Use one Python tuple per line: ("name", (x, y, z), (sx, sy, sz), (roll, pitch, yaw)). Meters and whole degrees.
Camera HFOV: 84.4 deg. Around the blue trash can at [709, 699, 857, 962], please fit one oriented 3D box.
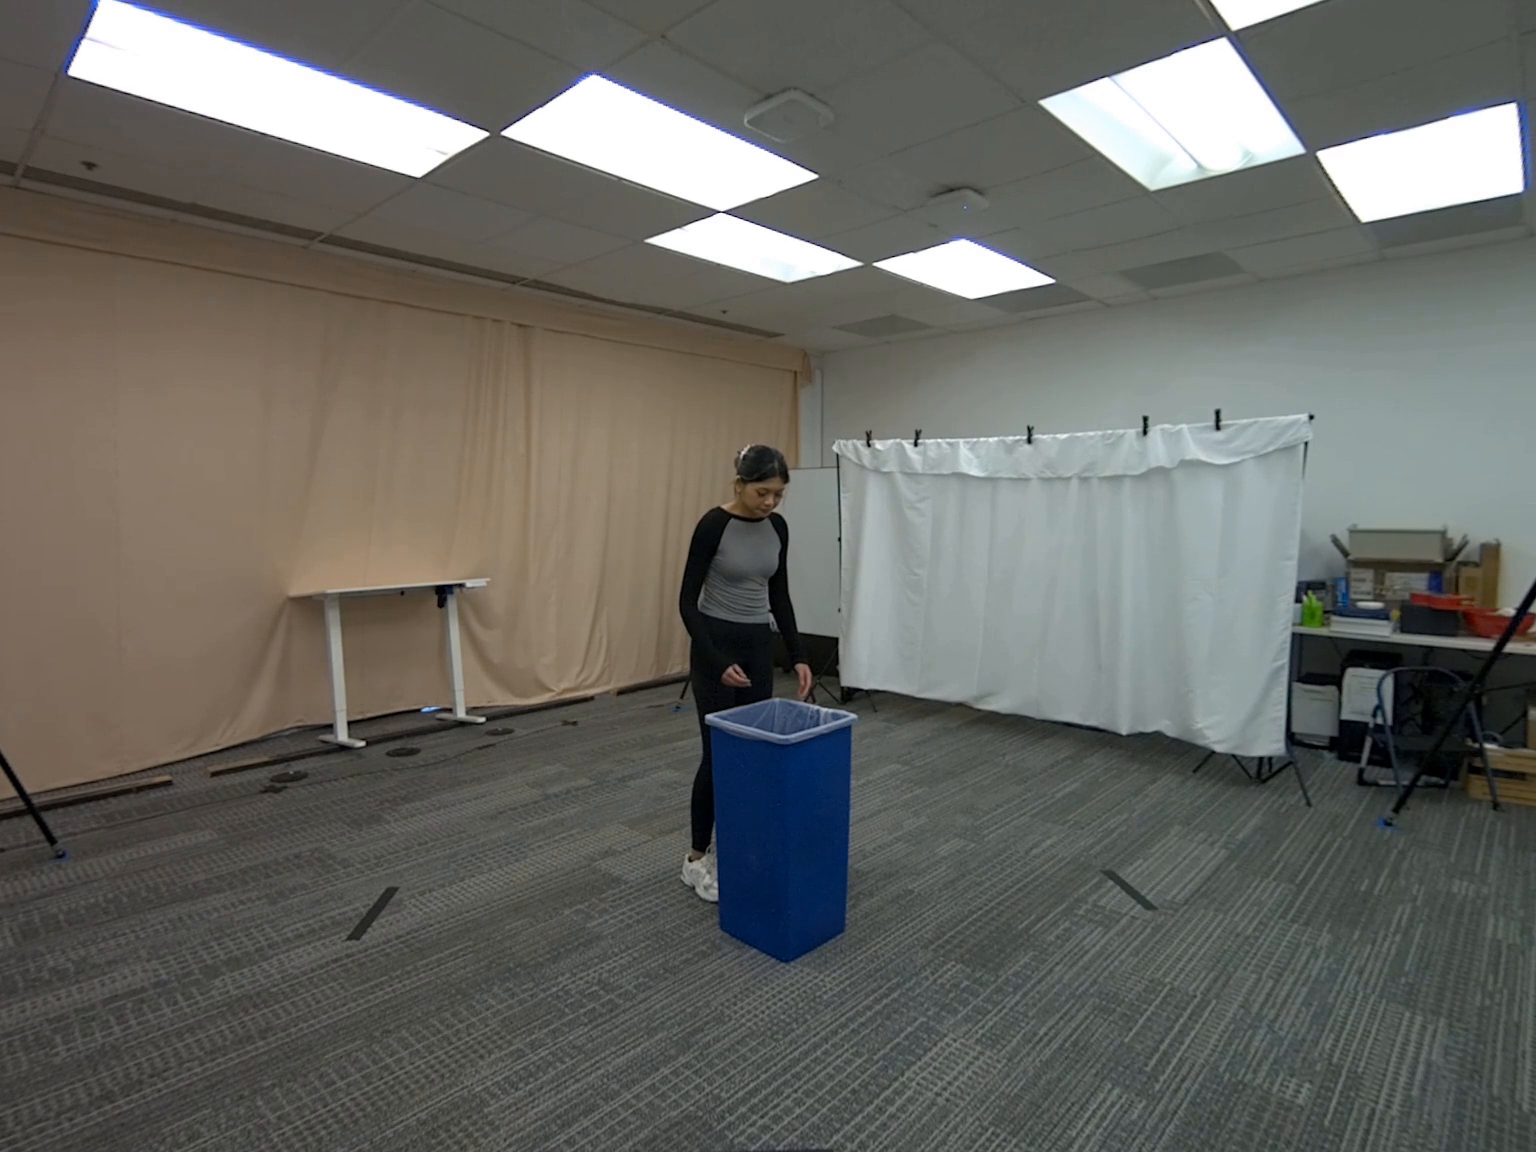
("blue trash can", (0.049, 0.808, 2.737), (0.391, 0.712, 0.362), (3, 4, 44))
